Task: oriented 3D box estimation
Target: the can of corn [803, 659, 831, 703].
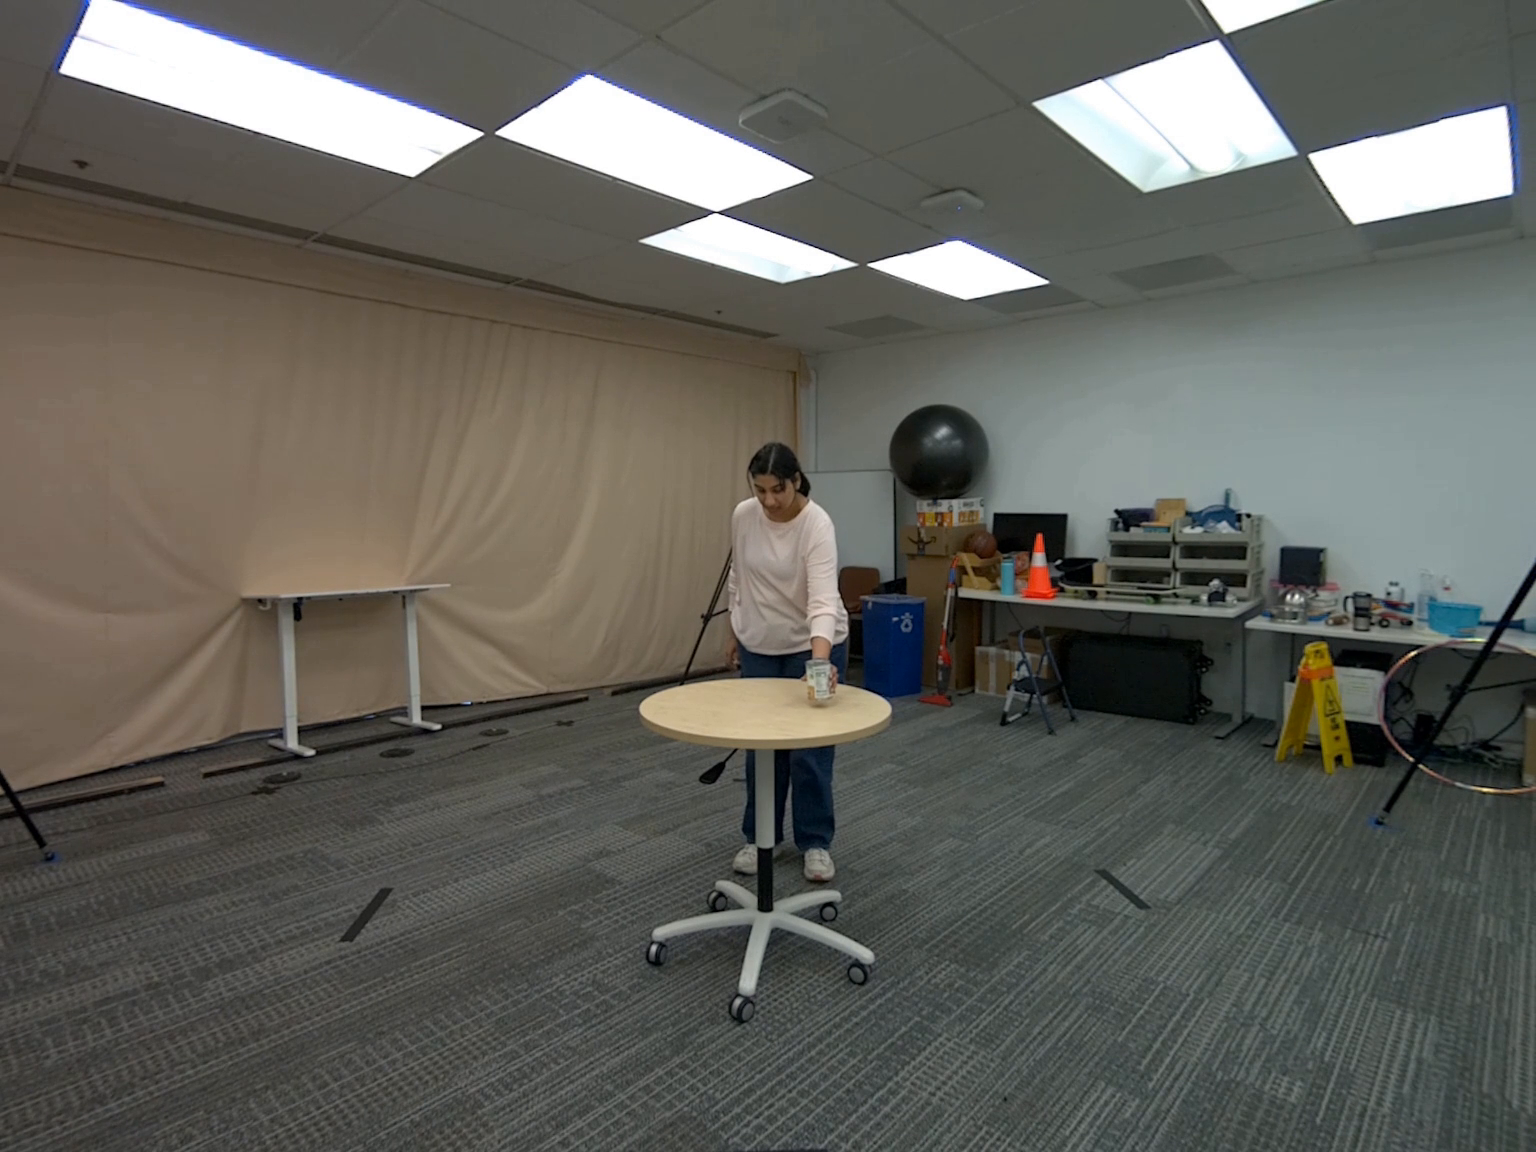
[{"bbox_3d":[0.153,0.314,2.554,0.074,0.111,0.074,-3,3,-2],"label":"can of corn"}]
